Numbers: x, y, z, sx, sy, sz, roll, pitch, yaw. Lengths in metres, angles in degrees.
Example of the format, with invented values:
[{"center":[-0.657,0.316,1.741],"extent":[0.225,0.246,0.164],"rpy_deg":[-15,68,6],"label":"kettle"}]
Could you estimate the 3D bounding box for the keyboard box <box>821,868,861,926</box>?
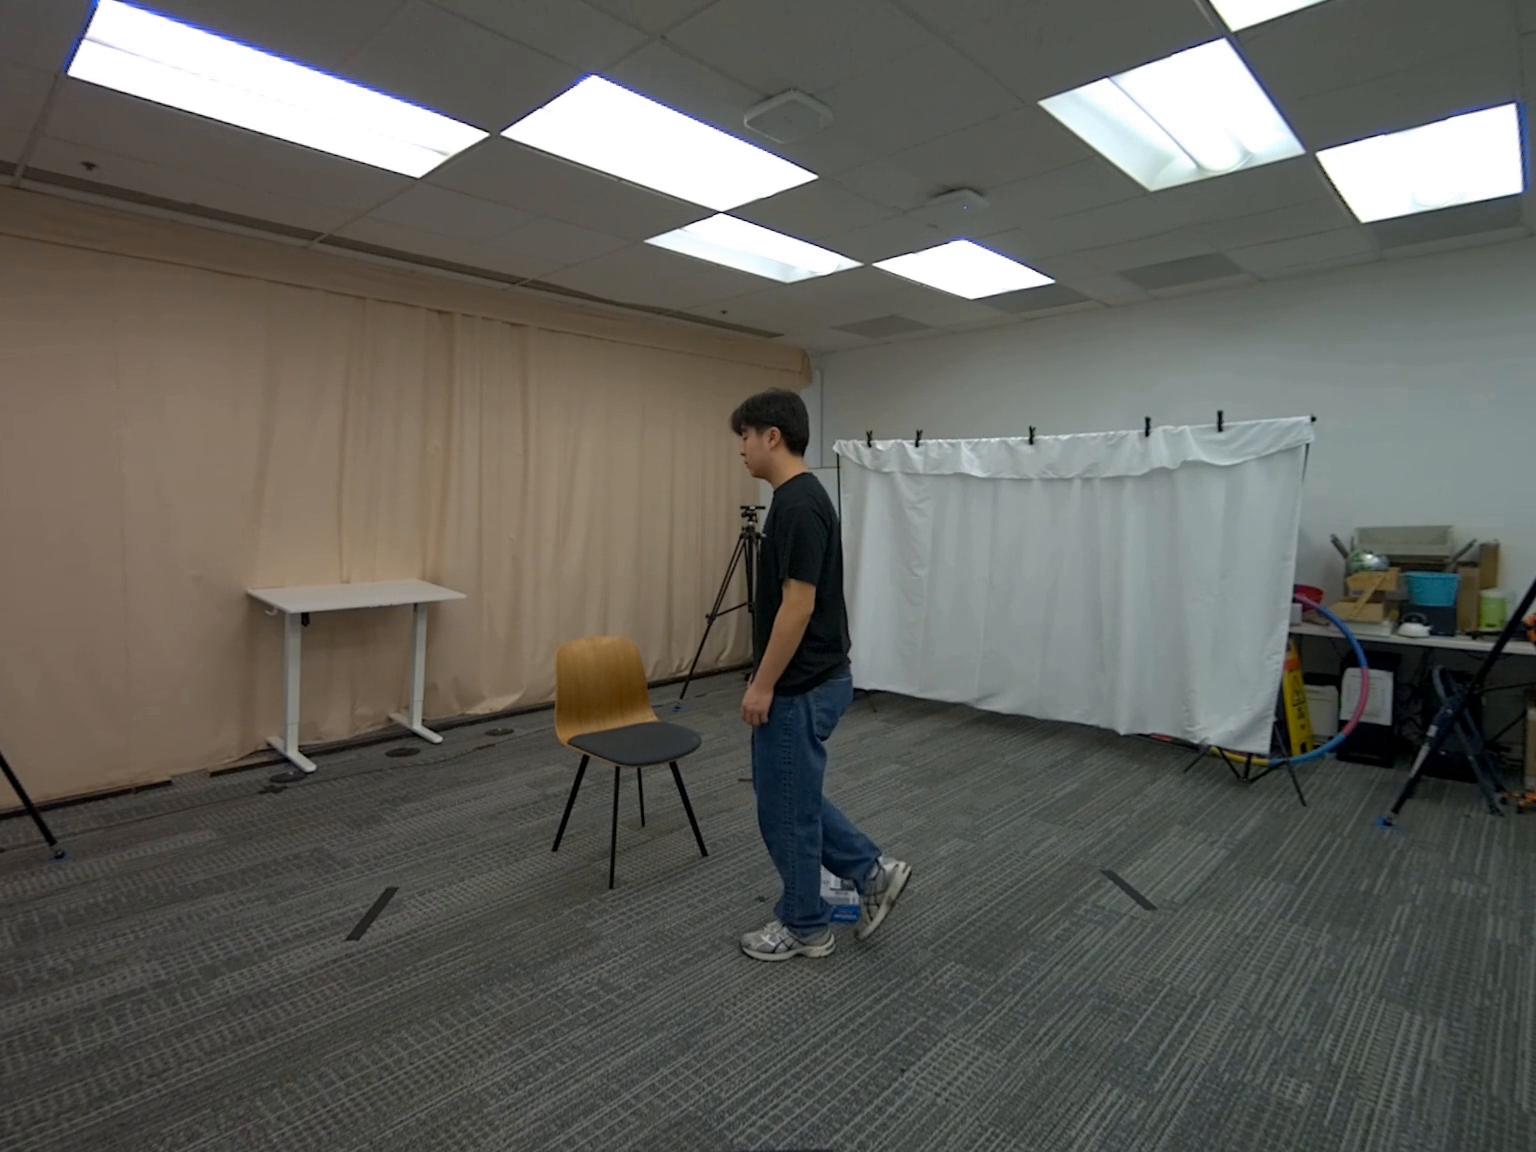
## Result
[{"center":[0.251,1.111,3.033],"extent":[0.177,0.059,0.434],"rpy_deg":[0,5,6],"label":"keyboard box"}]
